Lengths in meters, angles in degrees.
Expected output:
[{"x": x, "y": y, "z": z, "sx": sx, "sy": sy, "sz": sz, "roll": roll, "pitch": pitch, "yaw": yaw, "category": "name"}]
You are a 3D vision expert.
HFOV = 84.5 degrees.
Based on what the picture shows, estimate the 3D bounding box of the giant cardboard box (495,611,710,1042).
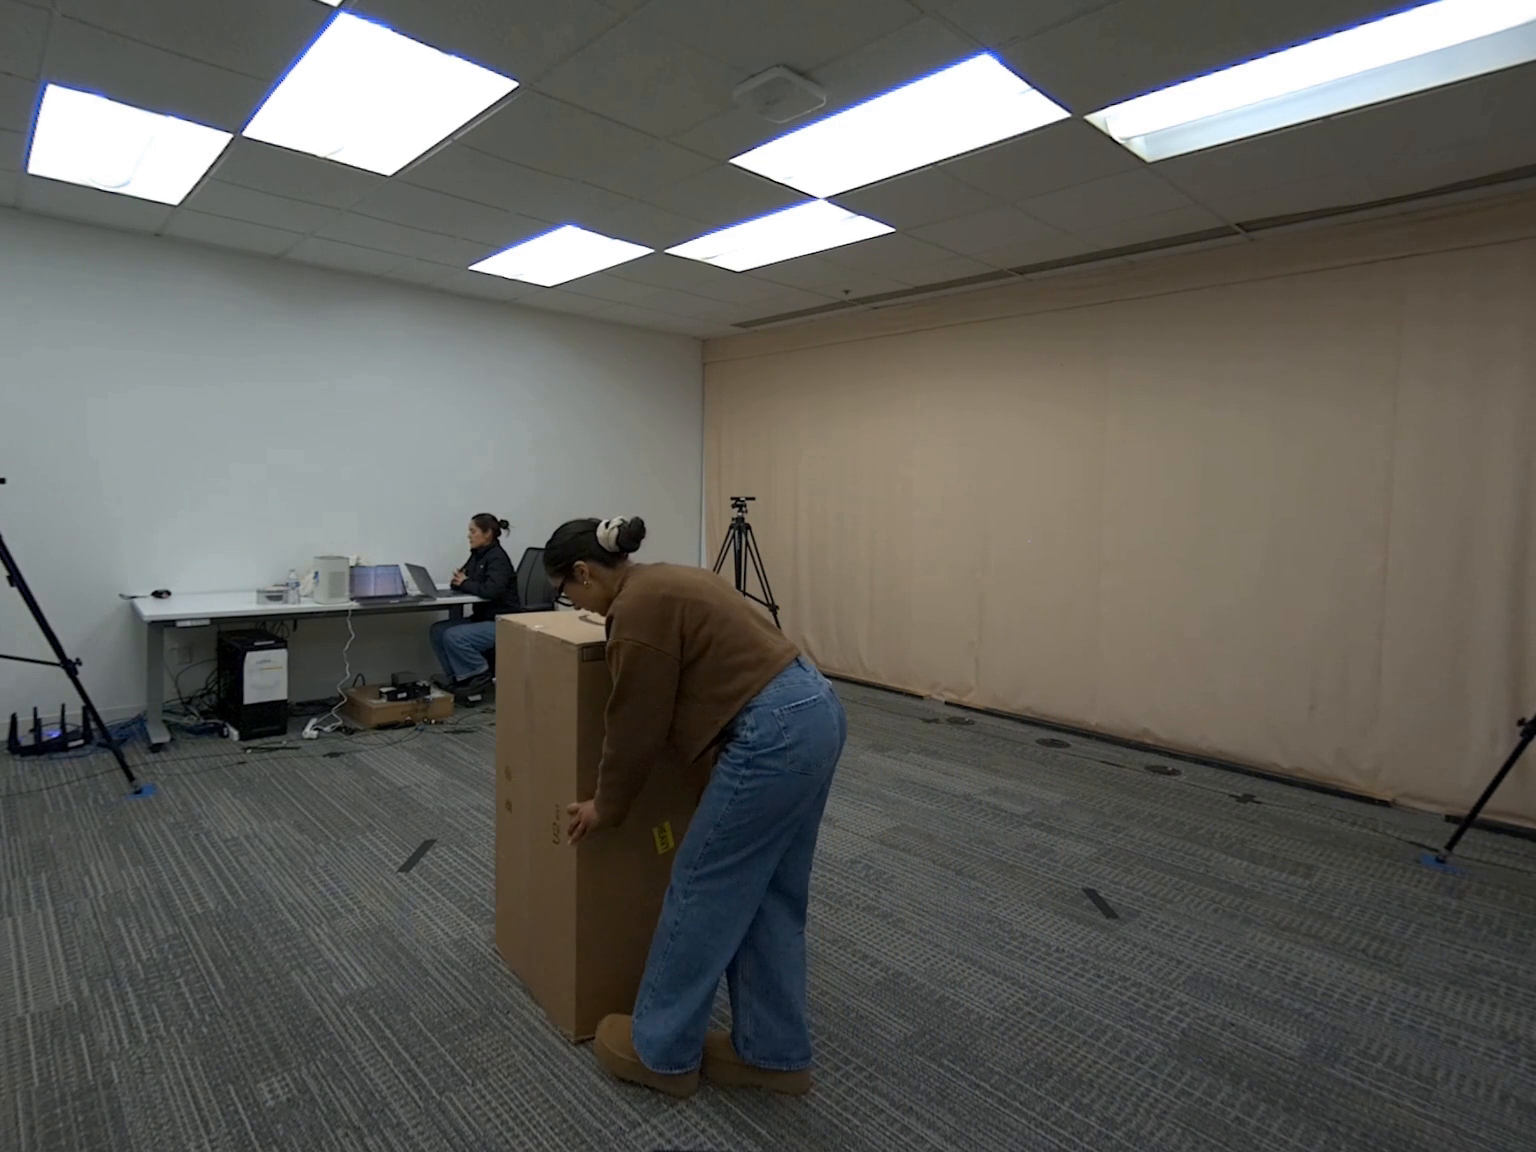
[{"x": -0.495, "y": 0.652, "z": 2.453, "sx": 0.416, "sy": 1.024, "sz": 0.591, "roll": -1, "pitch": 3, "yaw": -37, "category": "giant cardboard box"}]
